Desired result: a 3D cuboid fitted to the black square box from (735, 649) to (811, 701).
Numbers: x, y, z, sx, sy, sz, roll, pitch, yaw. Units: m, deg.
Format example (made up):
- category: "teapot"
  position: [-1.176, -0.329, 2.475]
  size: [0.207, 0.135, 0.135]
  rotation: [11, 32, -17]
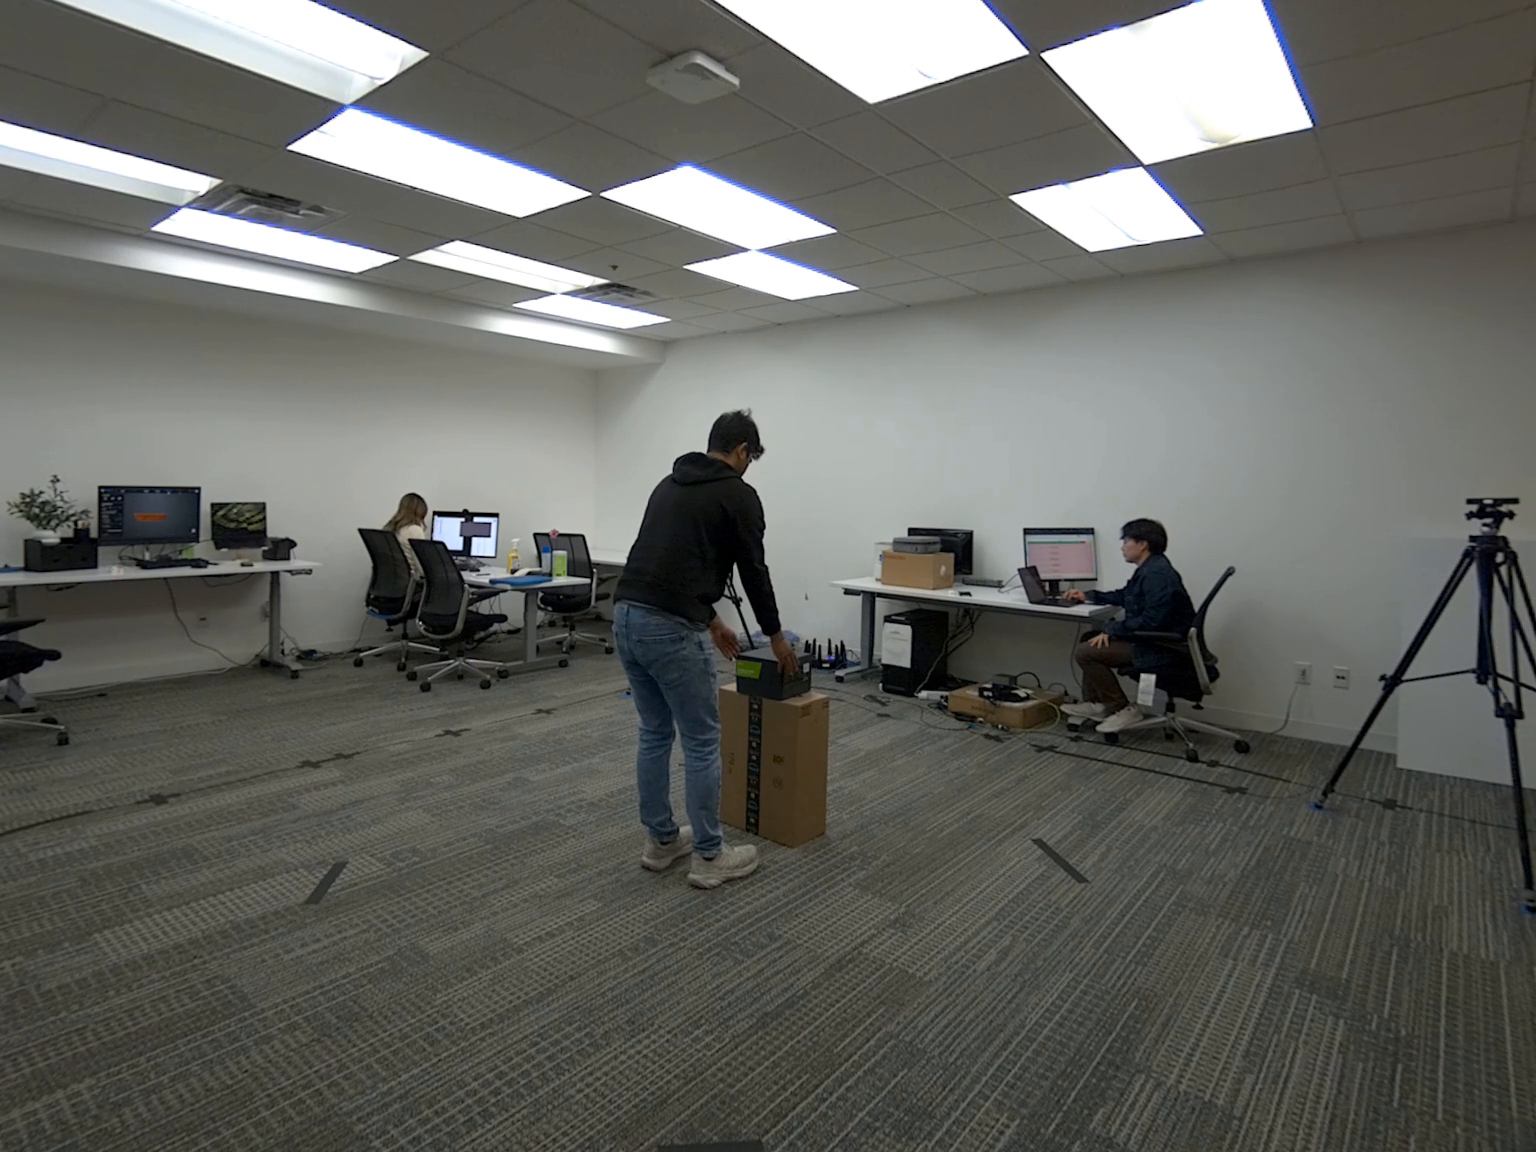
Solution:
- category: "black square box"
  position: [0.011, 0.388, 3.469]
  size: [0.235, 0.155, 0.211]
  rotation: [4, 7, 36]
